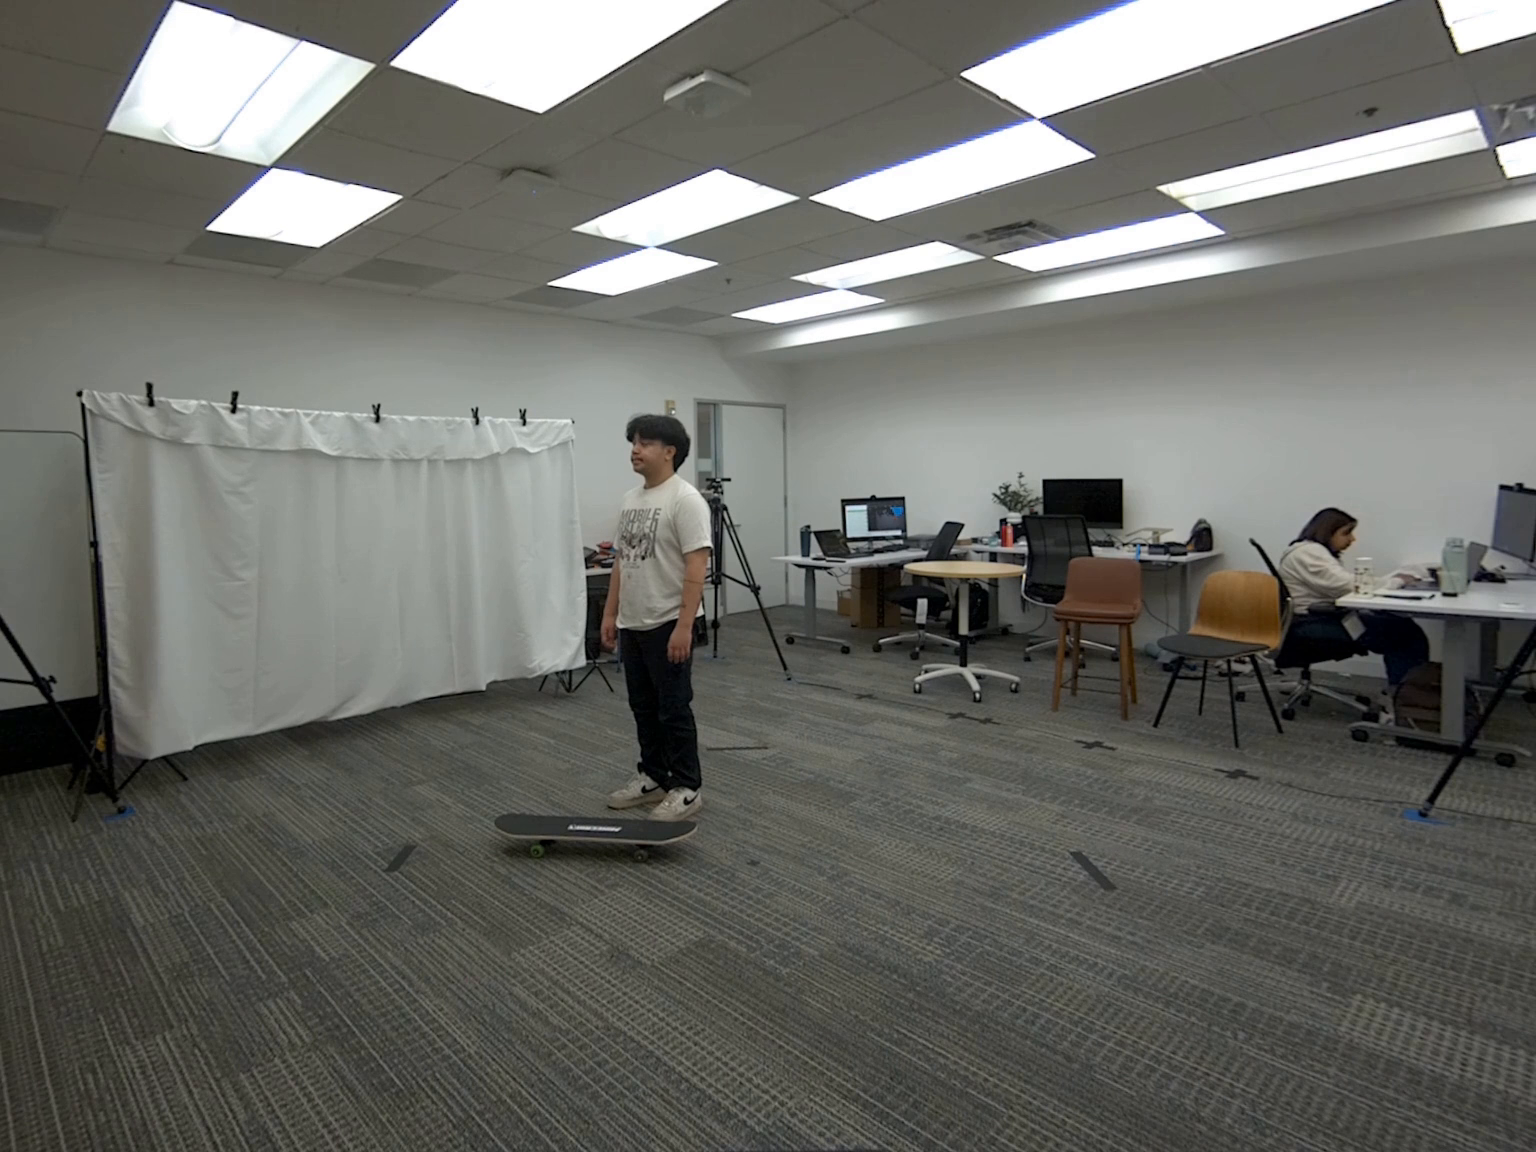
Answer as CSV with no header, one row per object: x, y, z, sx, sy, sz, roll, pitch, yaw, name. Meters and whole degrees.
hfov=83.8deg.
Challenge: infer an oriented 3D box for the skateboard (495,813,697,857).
-0.652,0.983,3.226,0.793,0.110,0.192,0,6,9,skateboard
